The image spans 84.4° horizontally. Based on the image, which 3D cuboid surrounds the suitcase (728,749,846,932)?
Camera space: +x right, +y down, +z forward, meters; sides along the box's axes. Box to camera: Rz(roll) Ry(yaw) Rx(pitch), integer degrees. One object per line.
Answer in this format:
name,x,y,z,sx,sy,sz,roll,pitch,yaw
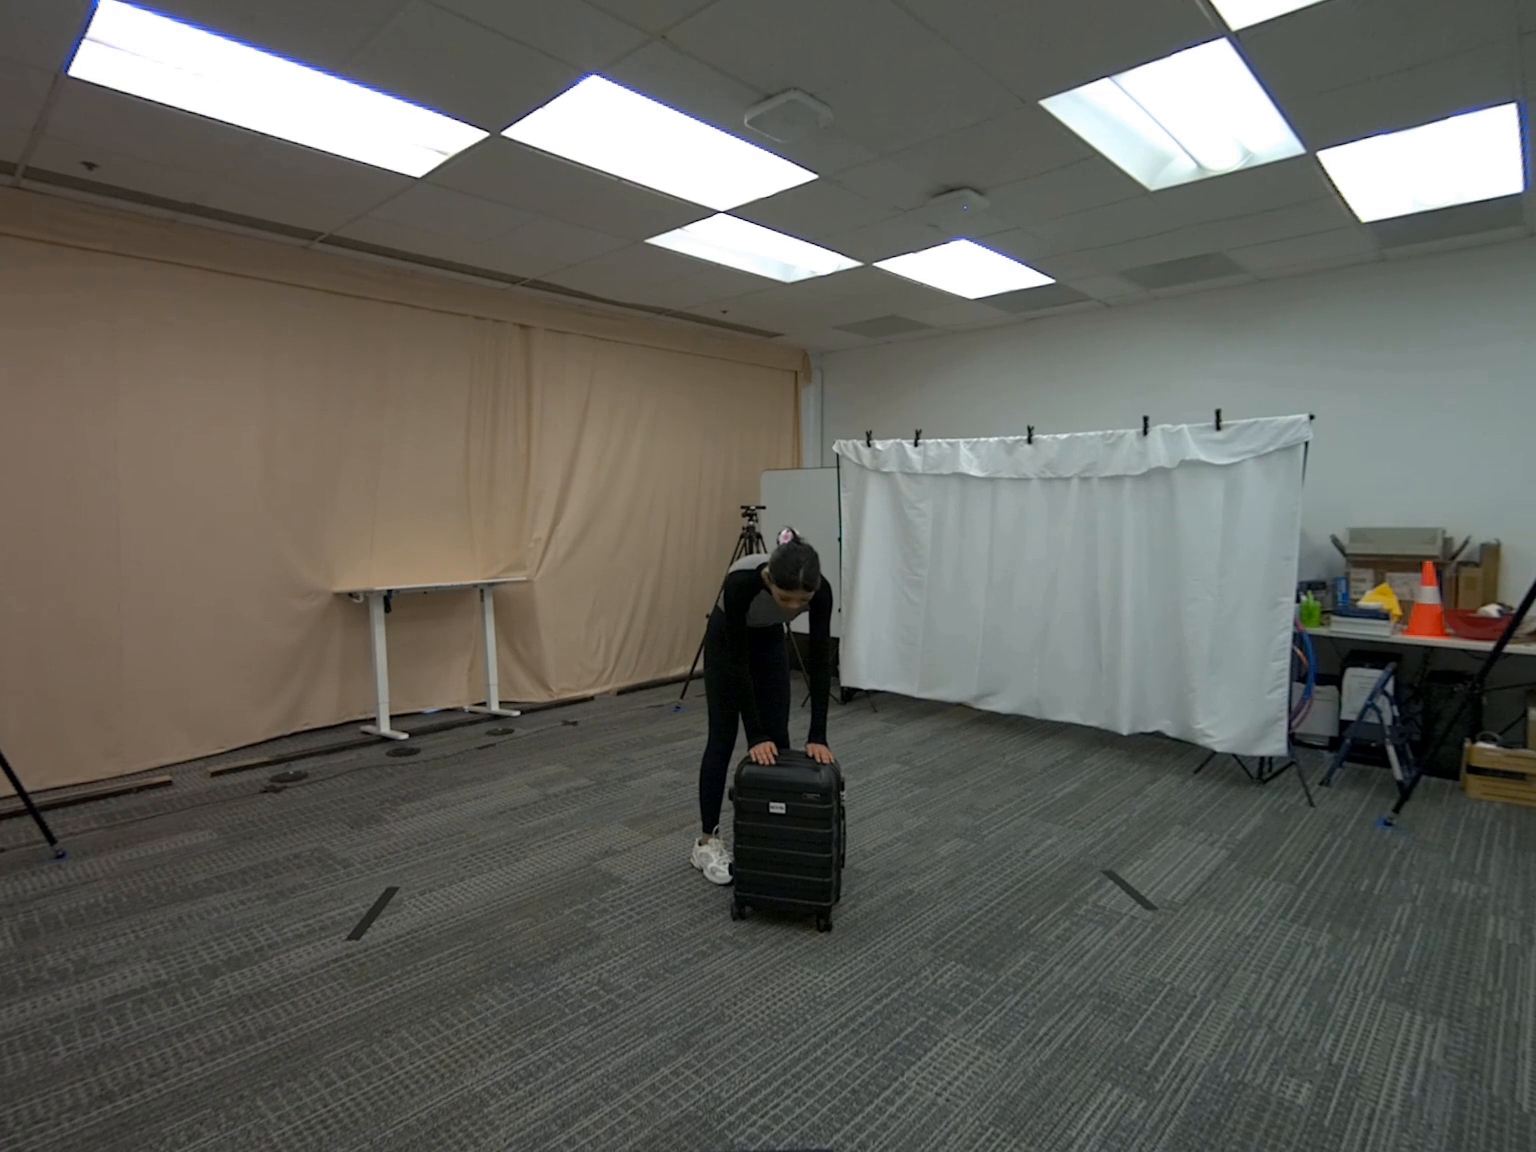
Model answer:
suitcase,0.075,0.881,2.867,0.382,0.547,0.245,1,5,16
